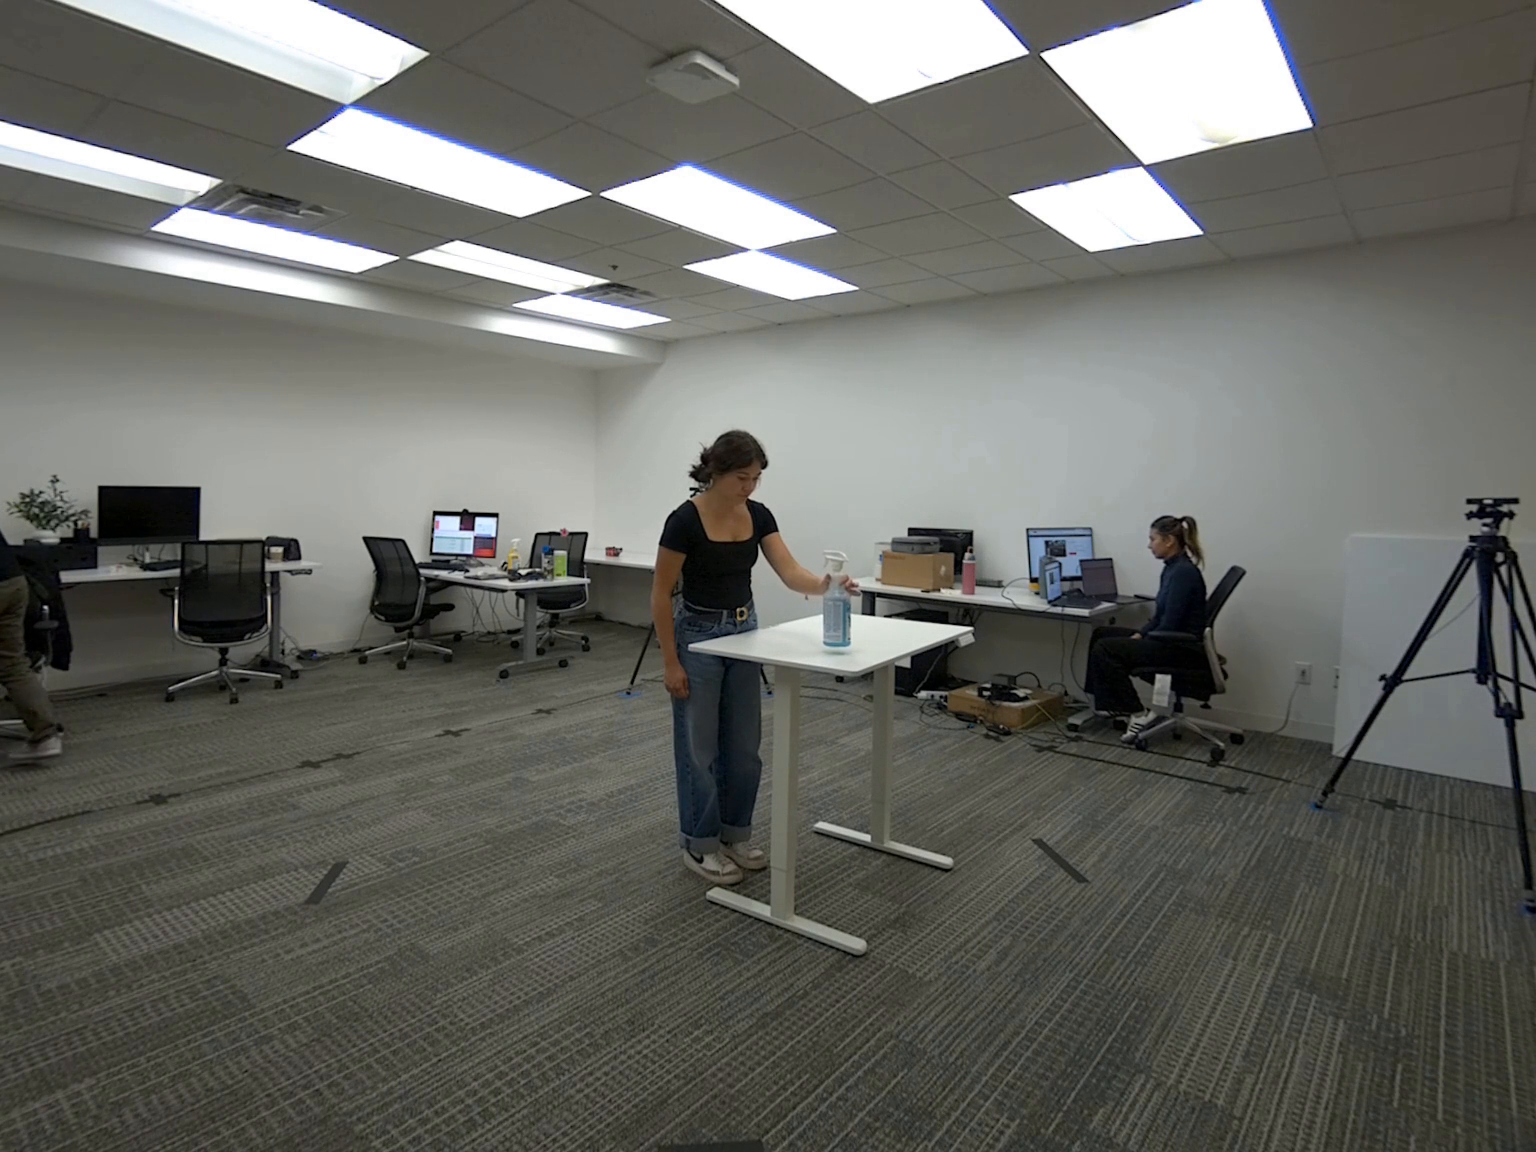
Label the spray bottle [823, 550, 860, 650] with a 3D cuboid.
[{"bbox_3d":[0.209,0.069,2.660,0.085,0.297,0.092,0,0,-27],"label":"spray bottle"}]
